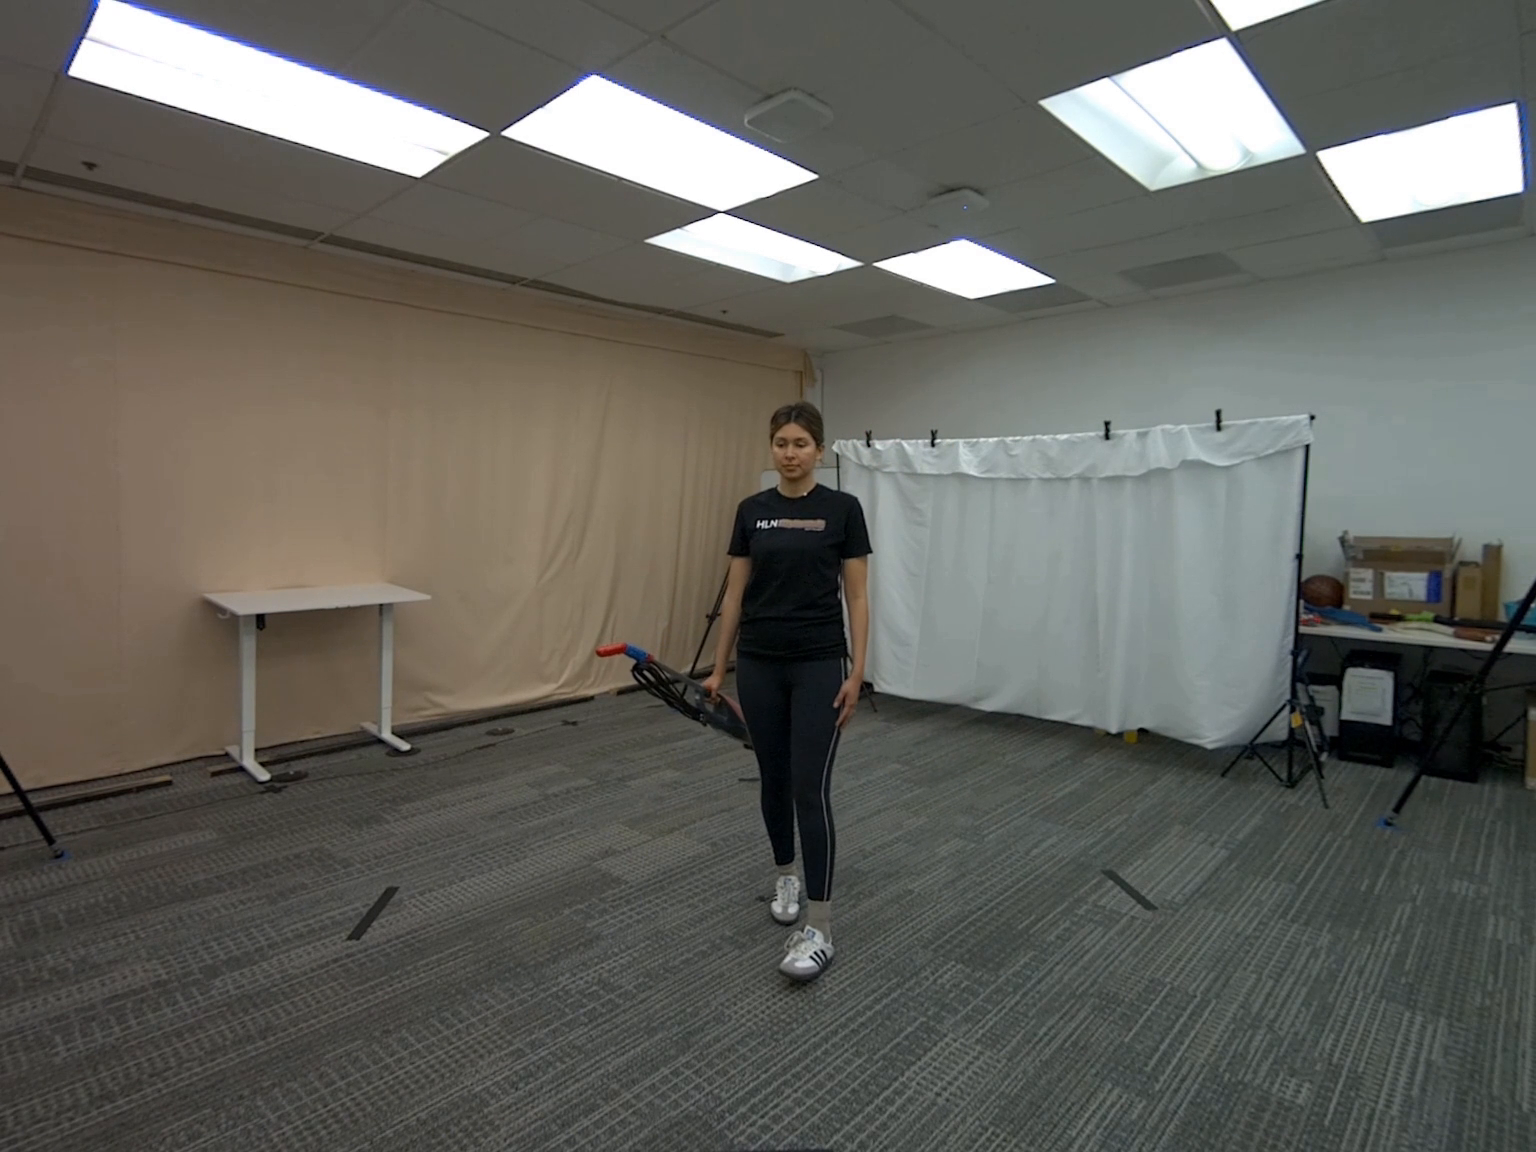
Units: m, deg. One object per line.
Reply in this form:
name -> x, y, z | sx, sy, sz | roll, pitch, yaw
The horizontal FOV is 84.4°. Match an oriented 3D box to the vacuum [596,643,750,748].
vacuum -> -0.247, 0.412, 2.767 | 0.260, 0.145, 1.012 | 5, -20, 31
